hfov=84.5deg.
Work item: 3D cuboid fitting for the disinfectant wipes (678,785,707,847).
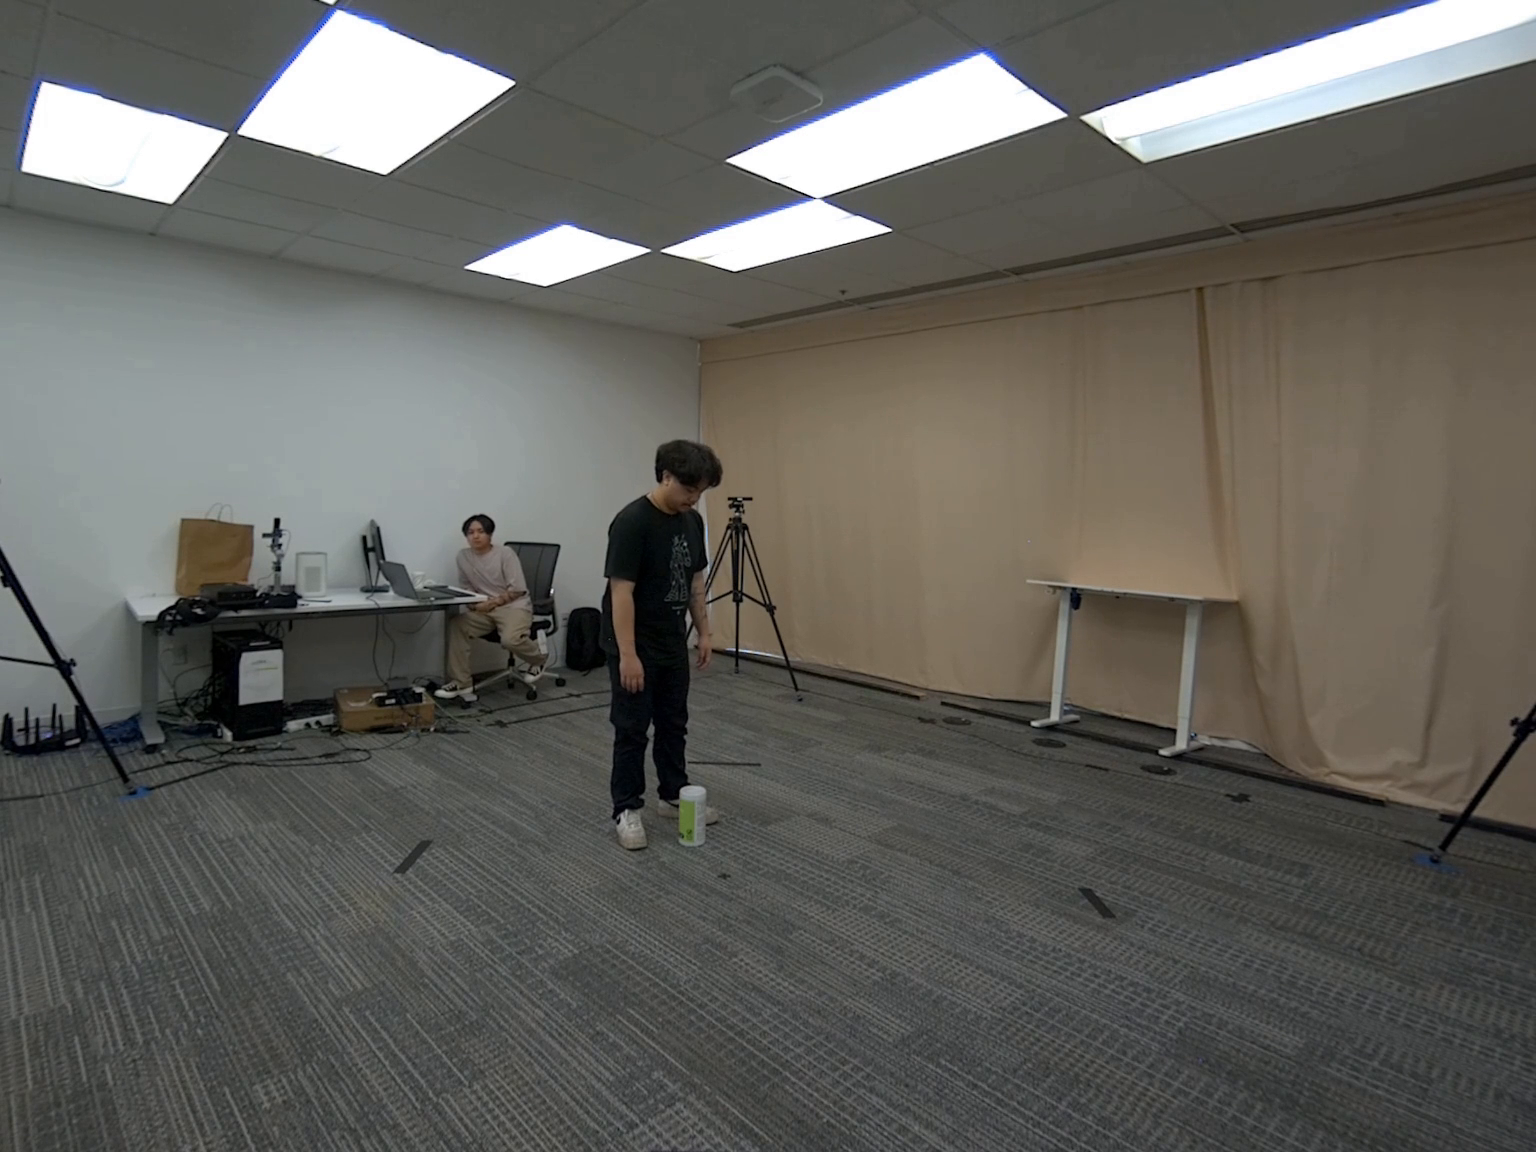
[{"bbox_3d":[-0.315,0.970,3.408,0.118,0.217,0.118,2,4,-2],"label":"disinfectant wipes"}]
